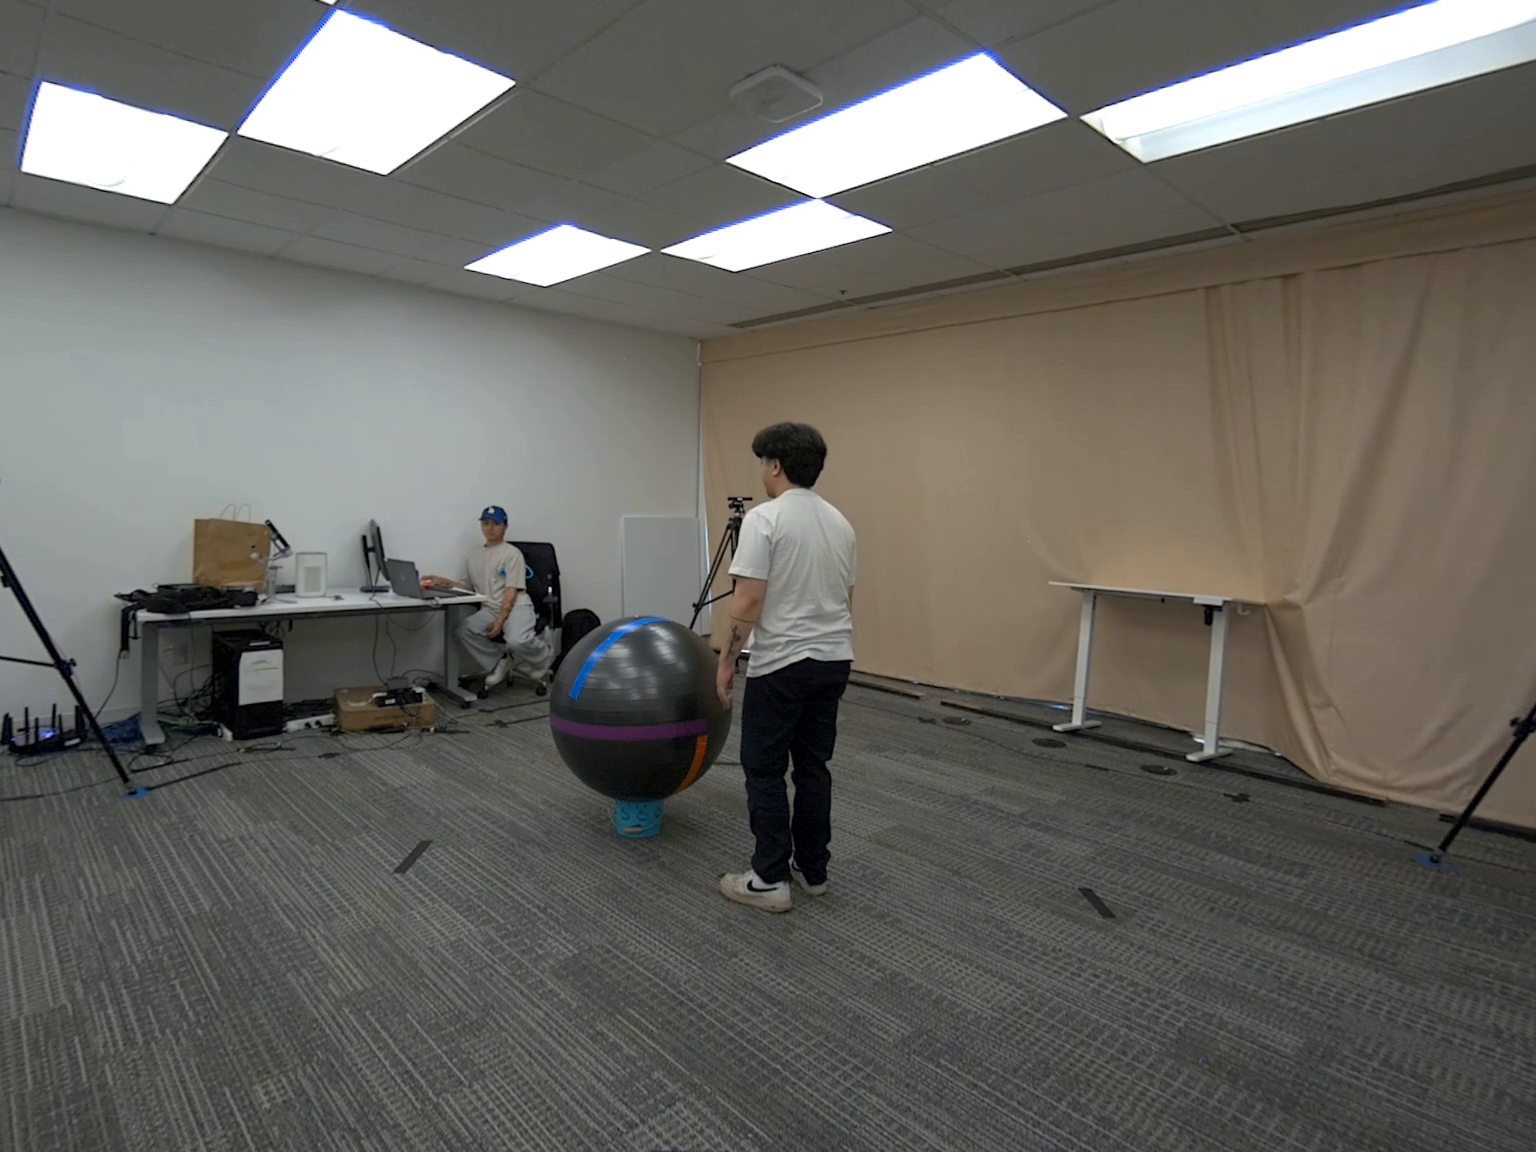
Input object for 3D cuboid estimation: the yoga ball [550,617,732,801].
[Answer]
[{"bbox_3d":[-0.534,0.551,3.513,0.757,0.756,0.761,1,4,-1],"label":"yoga ball"}]
